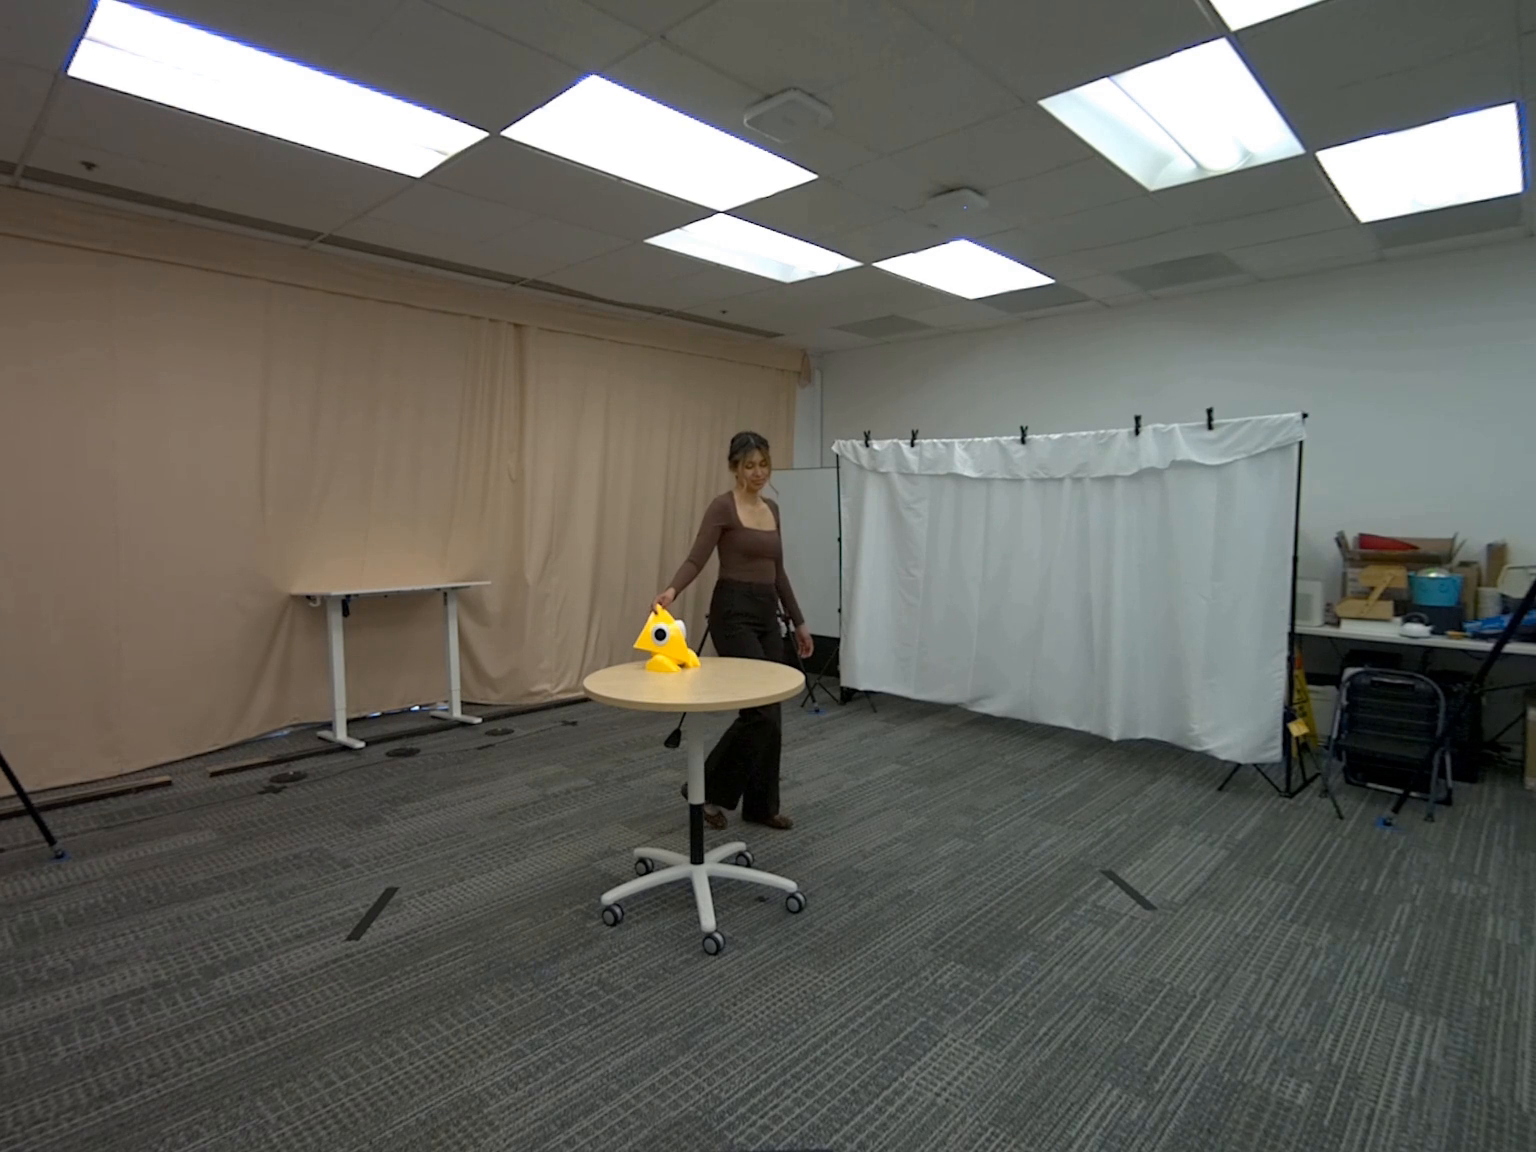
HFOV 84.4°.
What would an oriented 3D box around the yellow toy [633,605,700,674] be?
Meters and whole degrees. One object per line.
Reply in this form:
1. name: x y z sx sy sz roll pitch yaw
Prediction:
1. yellow toy: -0.365 0.225 3.128 0.199 0.230 0.199 3 5 37
